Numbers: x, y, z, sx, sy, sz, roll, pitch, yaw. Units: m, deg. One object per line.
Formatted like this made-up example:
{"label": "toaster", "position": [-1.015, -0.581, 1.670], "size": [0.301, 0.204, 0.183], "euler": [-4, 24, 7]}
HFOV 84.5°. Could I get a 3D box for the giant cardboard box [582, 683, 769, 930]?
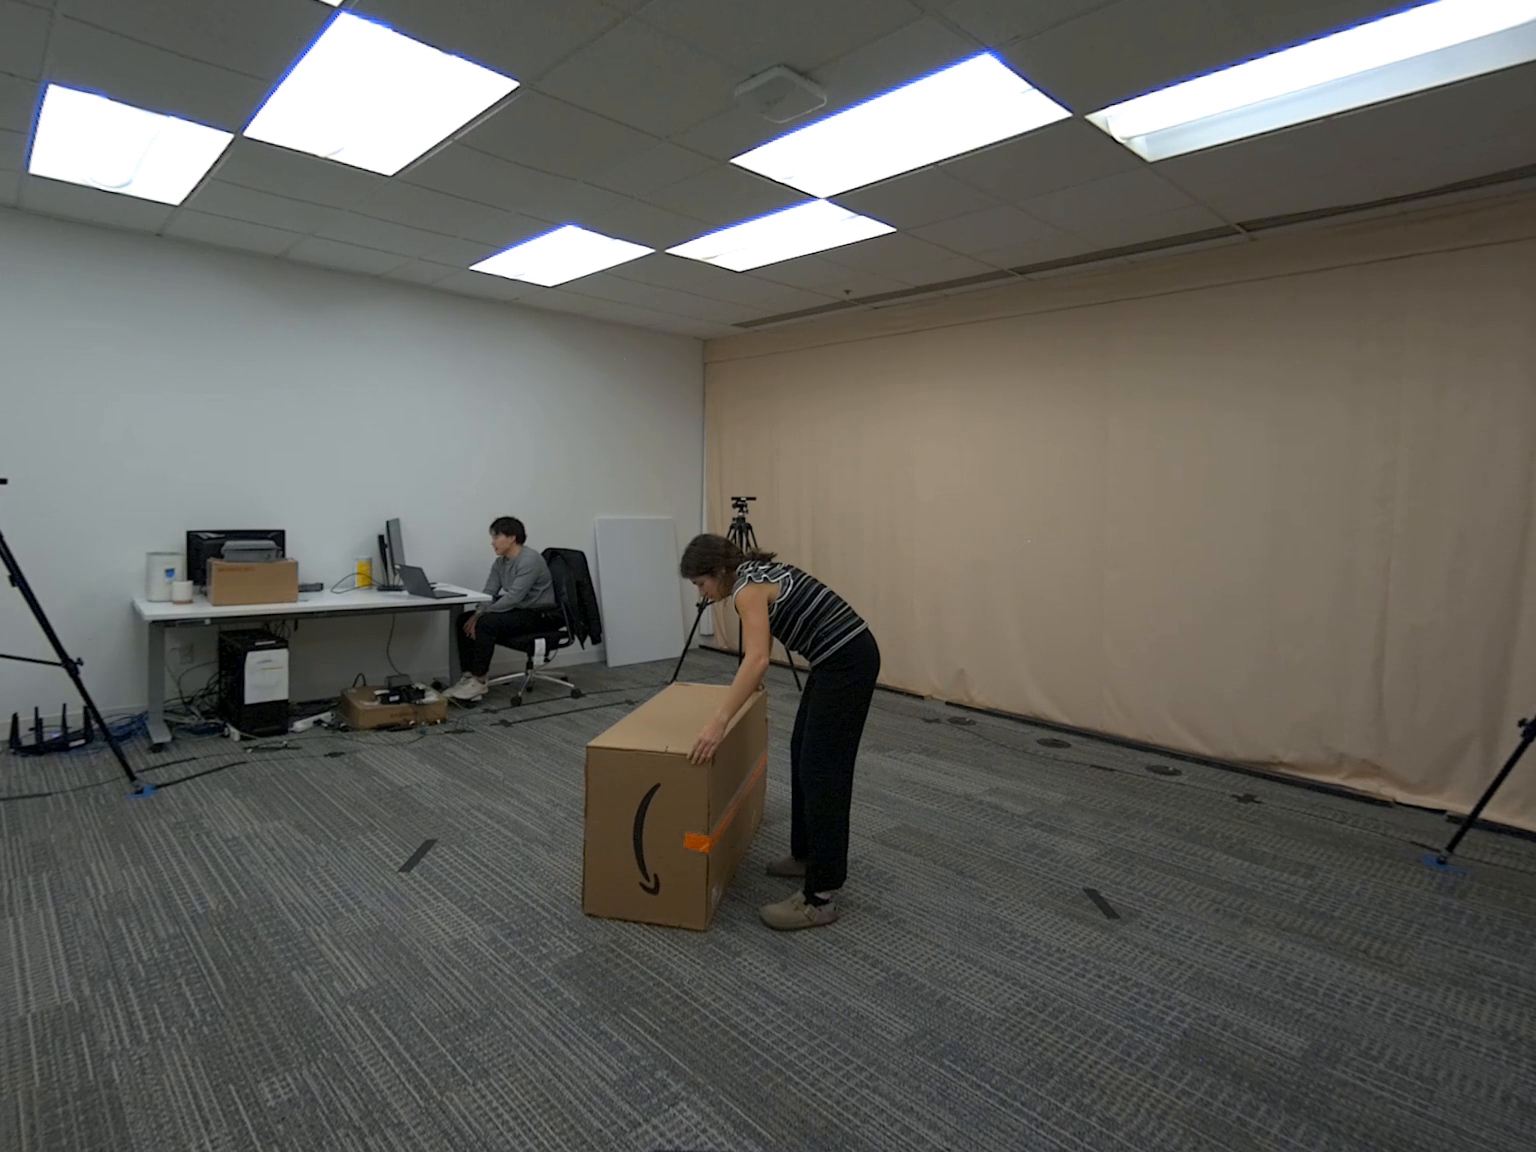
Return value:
{"label": "giant cardboard box", "position": [-0.312, 0.800, 3.216], "size": [0.430, 0.576, 1.019], "euler": [3, 5, 10]}
